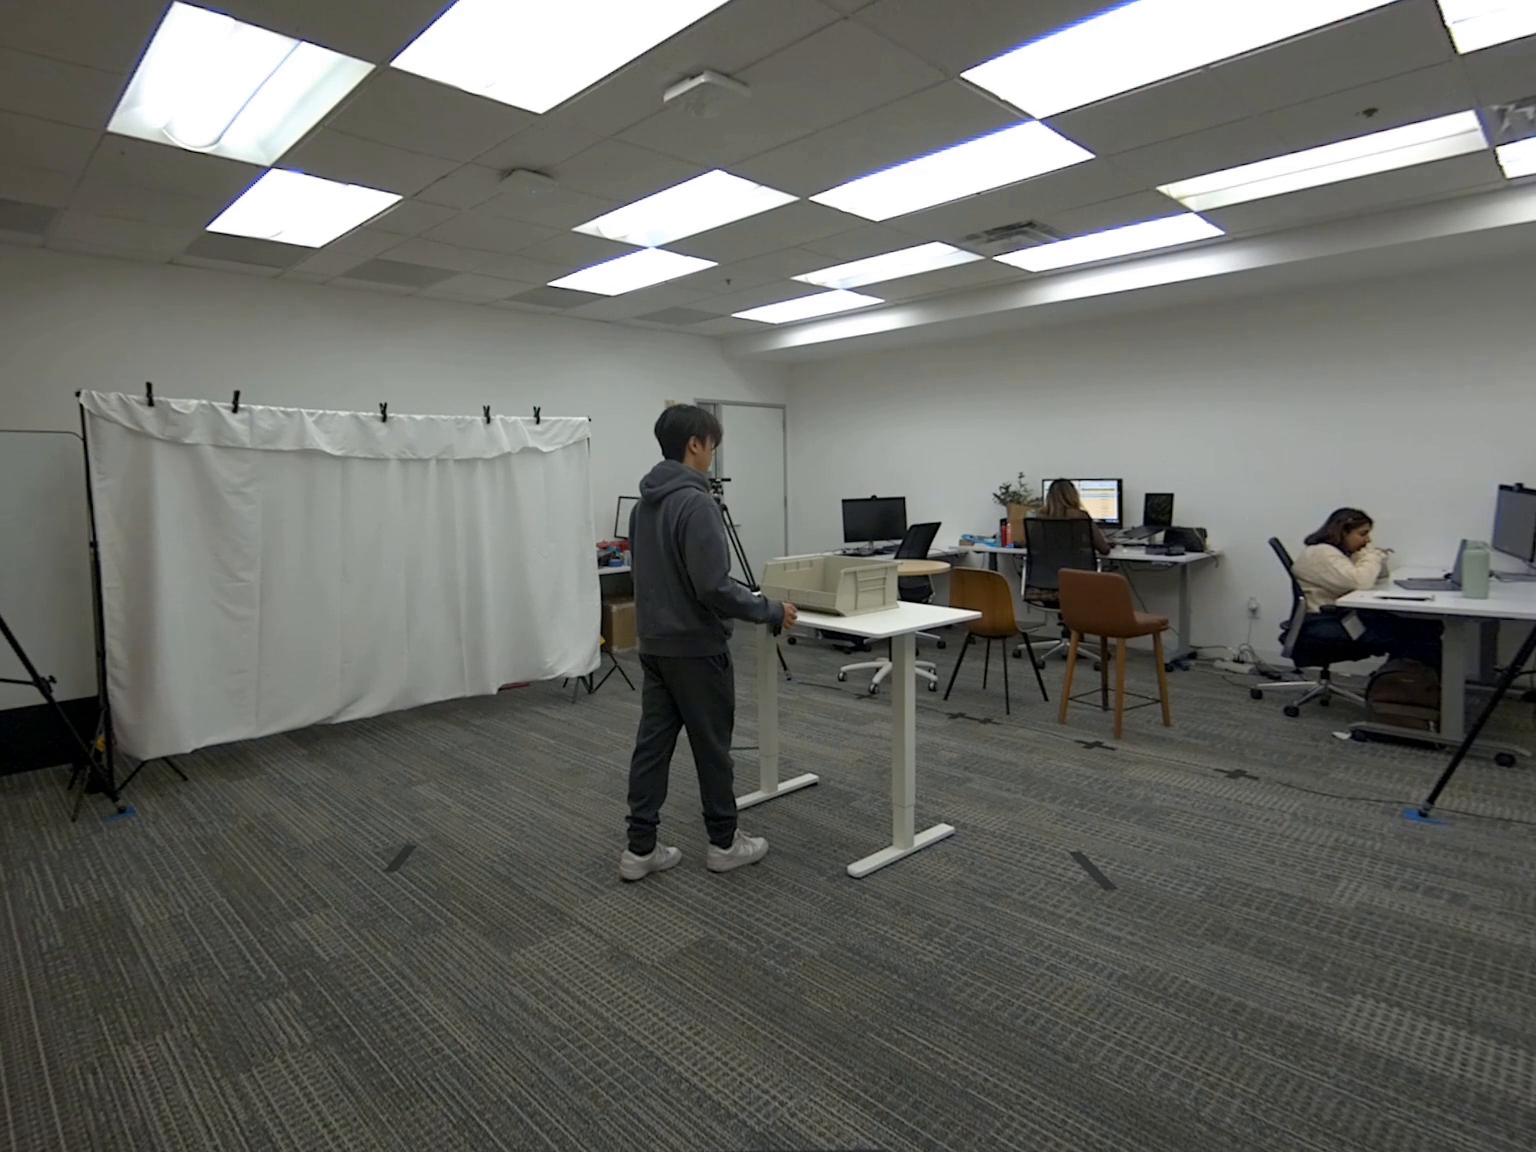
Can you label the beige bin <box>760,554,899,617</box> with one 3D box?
[{"bbox_3d":[0.245,0.033,3.376,0.367,0.188,0.435,-5,8,-40],"label":"beige bin"}]
